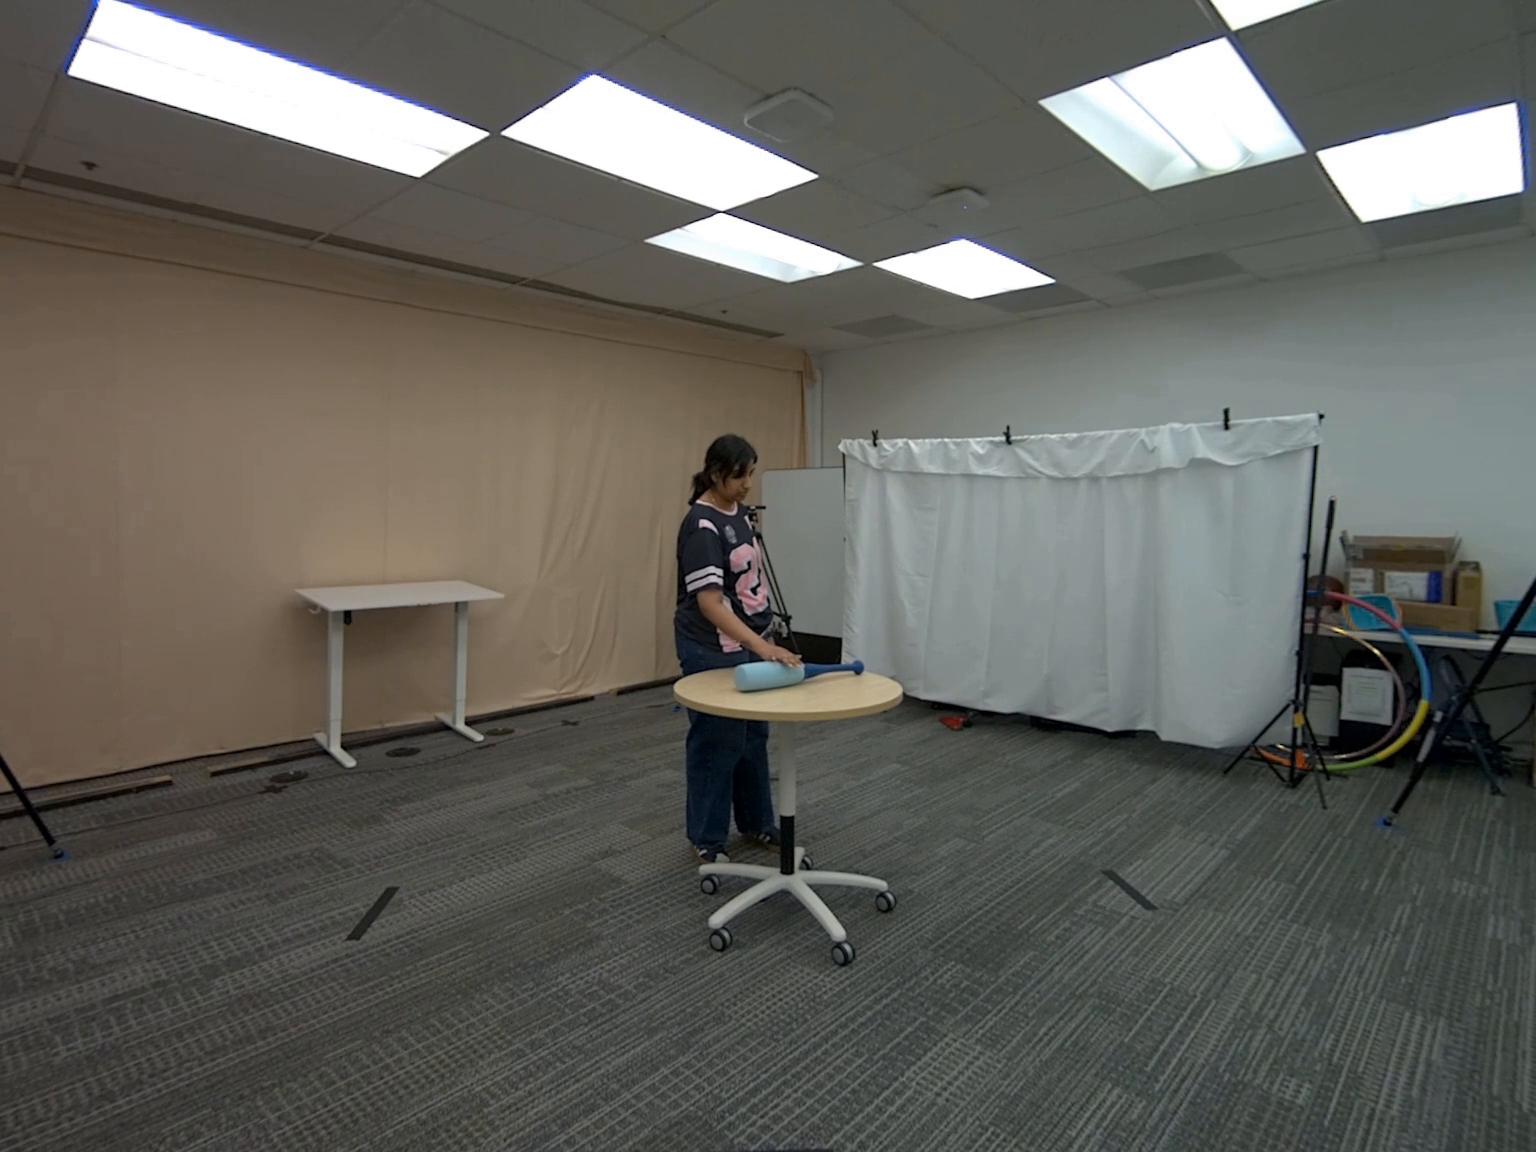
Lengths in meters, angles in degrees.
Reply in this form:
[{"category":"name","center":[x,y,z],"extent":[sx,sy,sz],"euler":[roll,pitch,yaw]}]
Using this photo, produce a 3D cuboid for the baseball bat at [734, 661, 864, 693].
[{"category":"baseball bat","center":[0.124,0.333,2.881],"extent":[0.527,0.089,0.092],"euler":[0,3,-34]}]
